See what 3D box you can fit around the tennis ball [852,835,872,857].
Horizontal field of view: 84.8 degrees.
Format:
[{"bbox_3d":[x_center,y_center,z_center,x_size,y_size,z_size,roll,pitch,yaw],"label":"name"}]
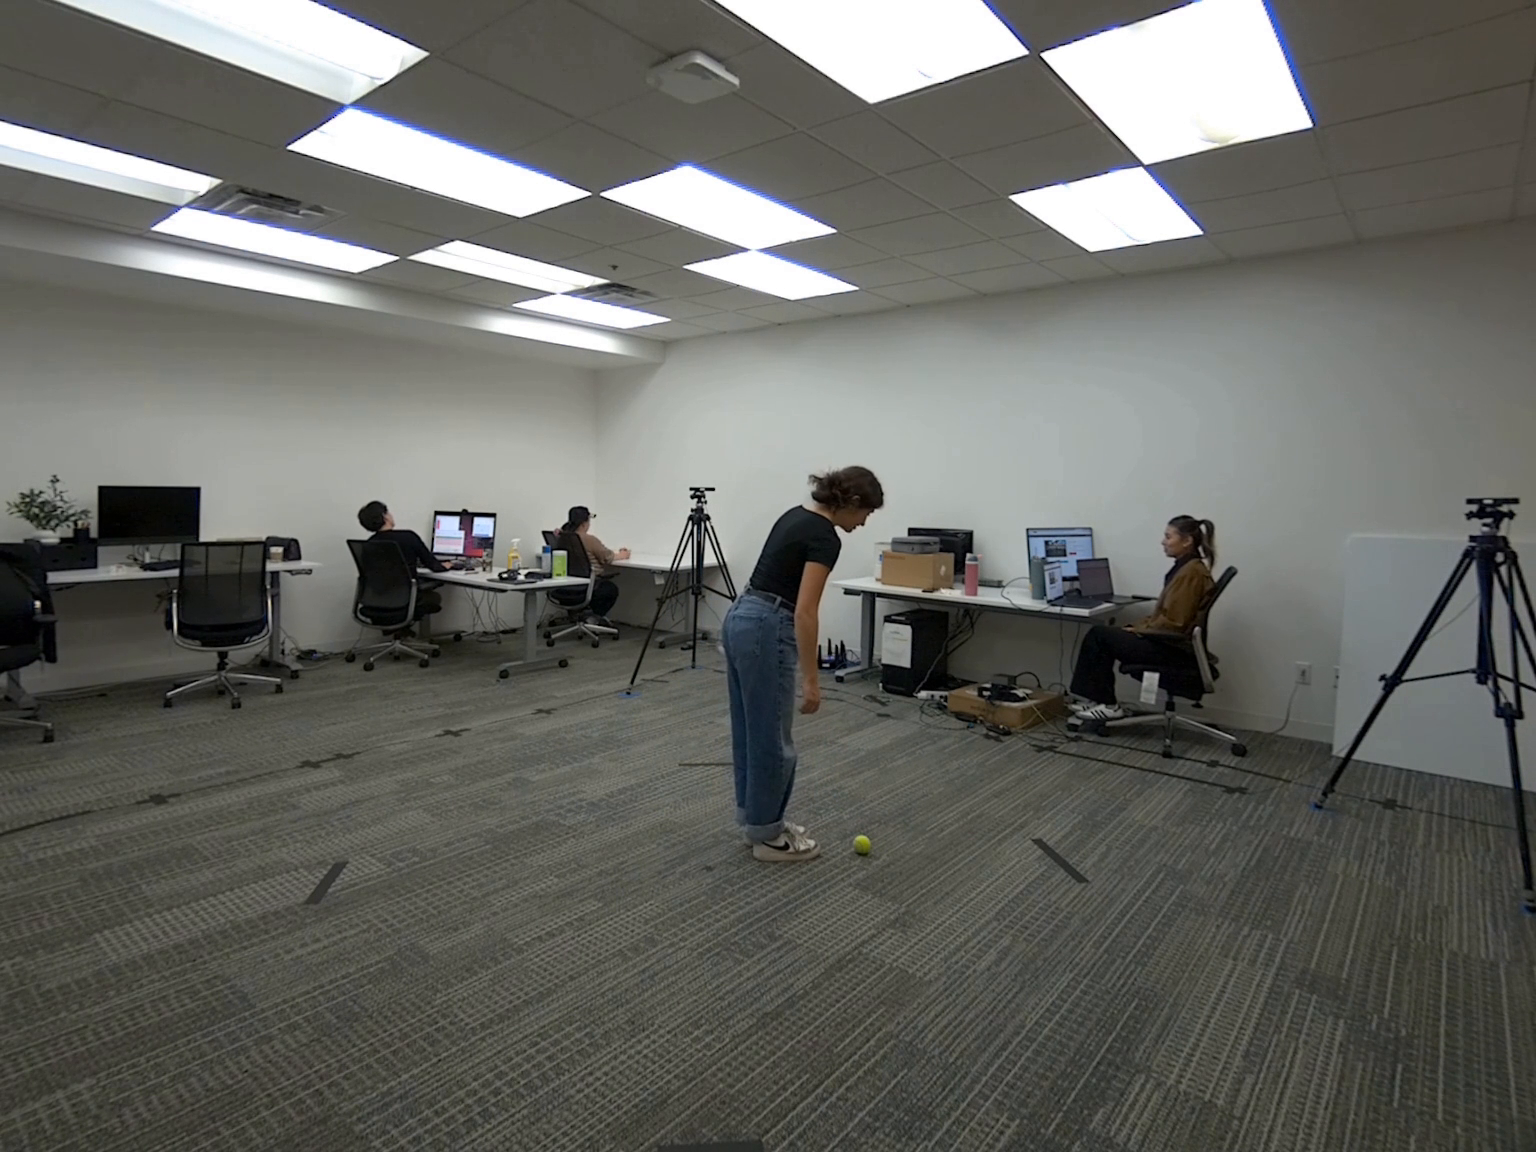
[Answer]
[{"bbox_3d":[0.354,1.028,3.271,0.066,0.066,0.067,1,4,-2],"label":"tennis ball"}]
